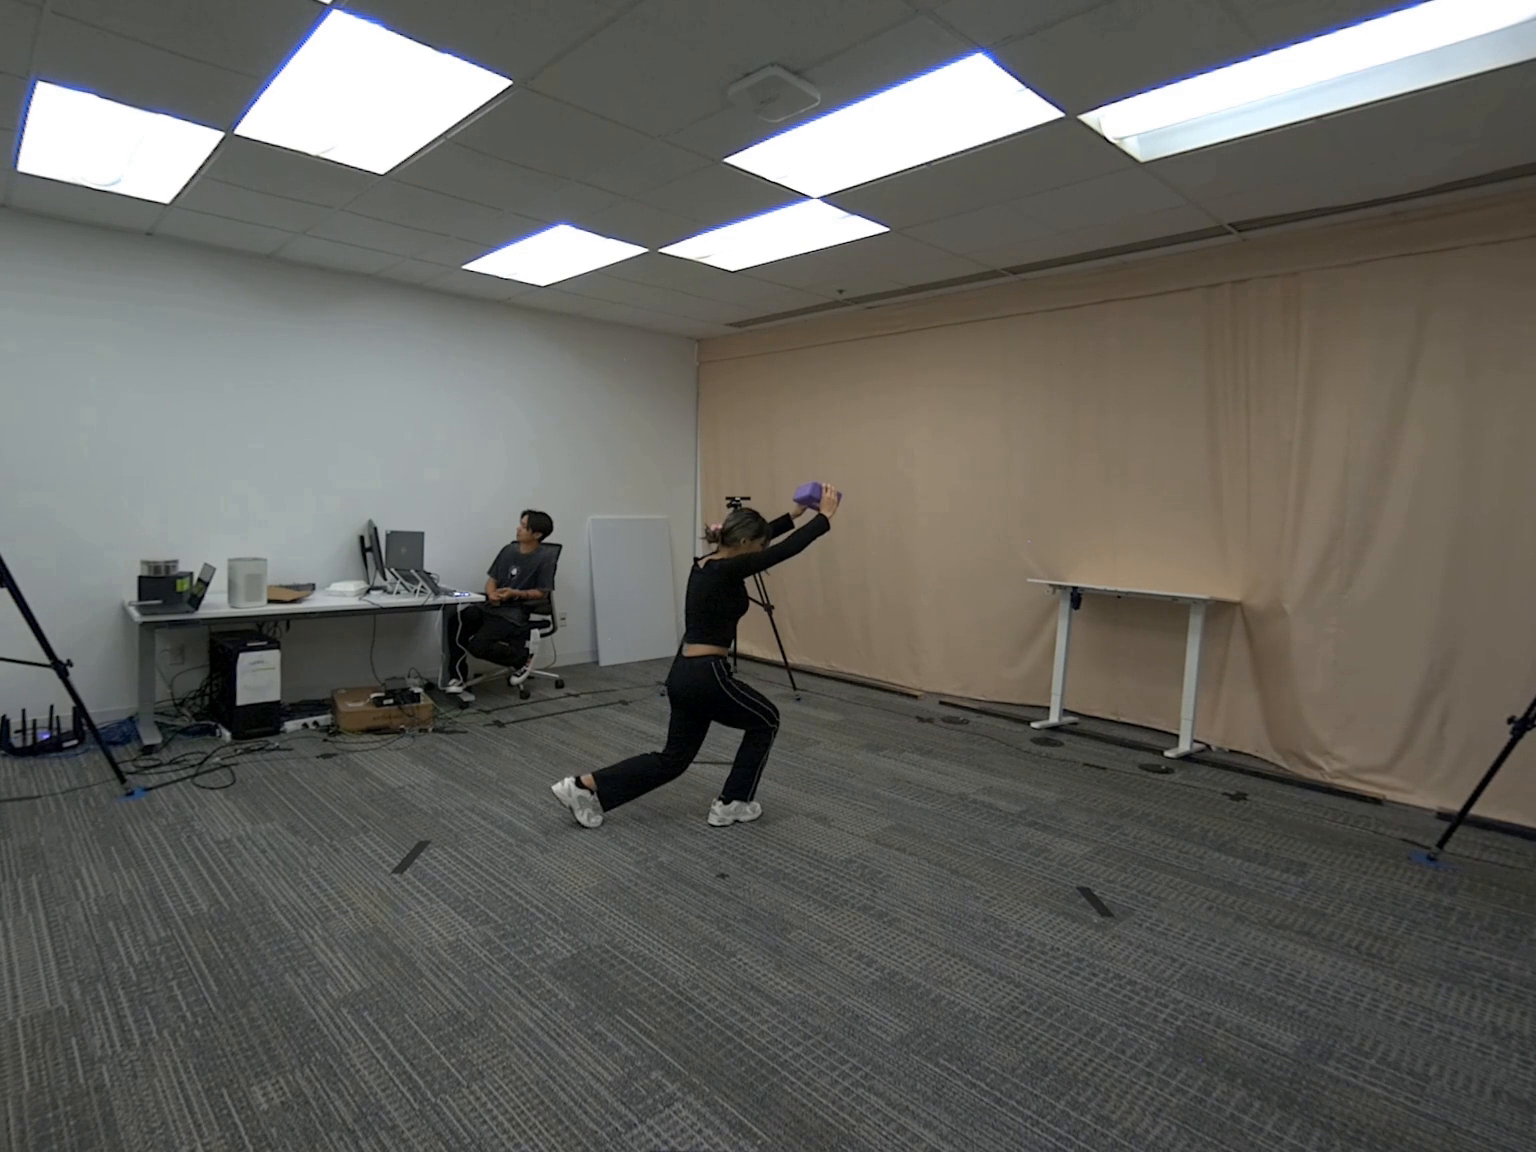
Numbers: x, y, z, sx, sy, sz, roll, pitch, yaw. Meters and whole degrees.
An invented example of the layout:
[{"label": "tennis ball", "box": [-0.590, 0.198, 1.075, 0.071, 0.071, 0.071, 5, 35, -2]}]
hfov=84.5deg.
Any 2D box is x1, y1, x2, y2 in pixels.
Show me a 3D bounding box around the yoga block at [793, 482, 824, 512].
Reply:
[{"label": "yoga block", "box": [0.209, -0.356, 3.762, 0.147, 0.076, 0.231, 23, -6, -13]}]
